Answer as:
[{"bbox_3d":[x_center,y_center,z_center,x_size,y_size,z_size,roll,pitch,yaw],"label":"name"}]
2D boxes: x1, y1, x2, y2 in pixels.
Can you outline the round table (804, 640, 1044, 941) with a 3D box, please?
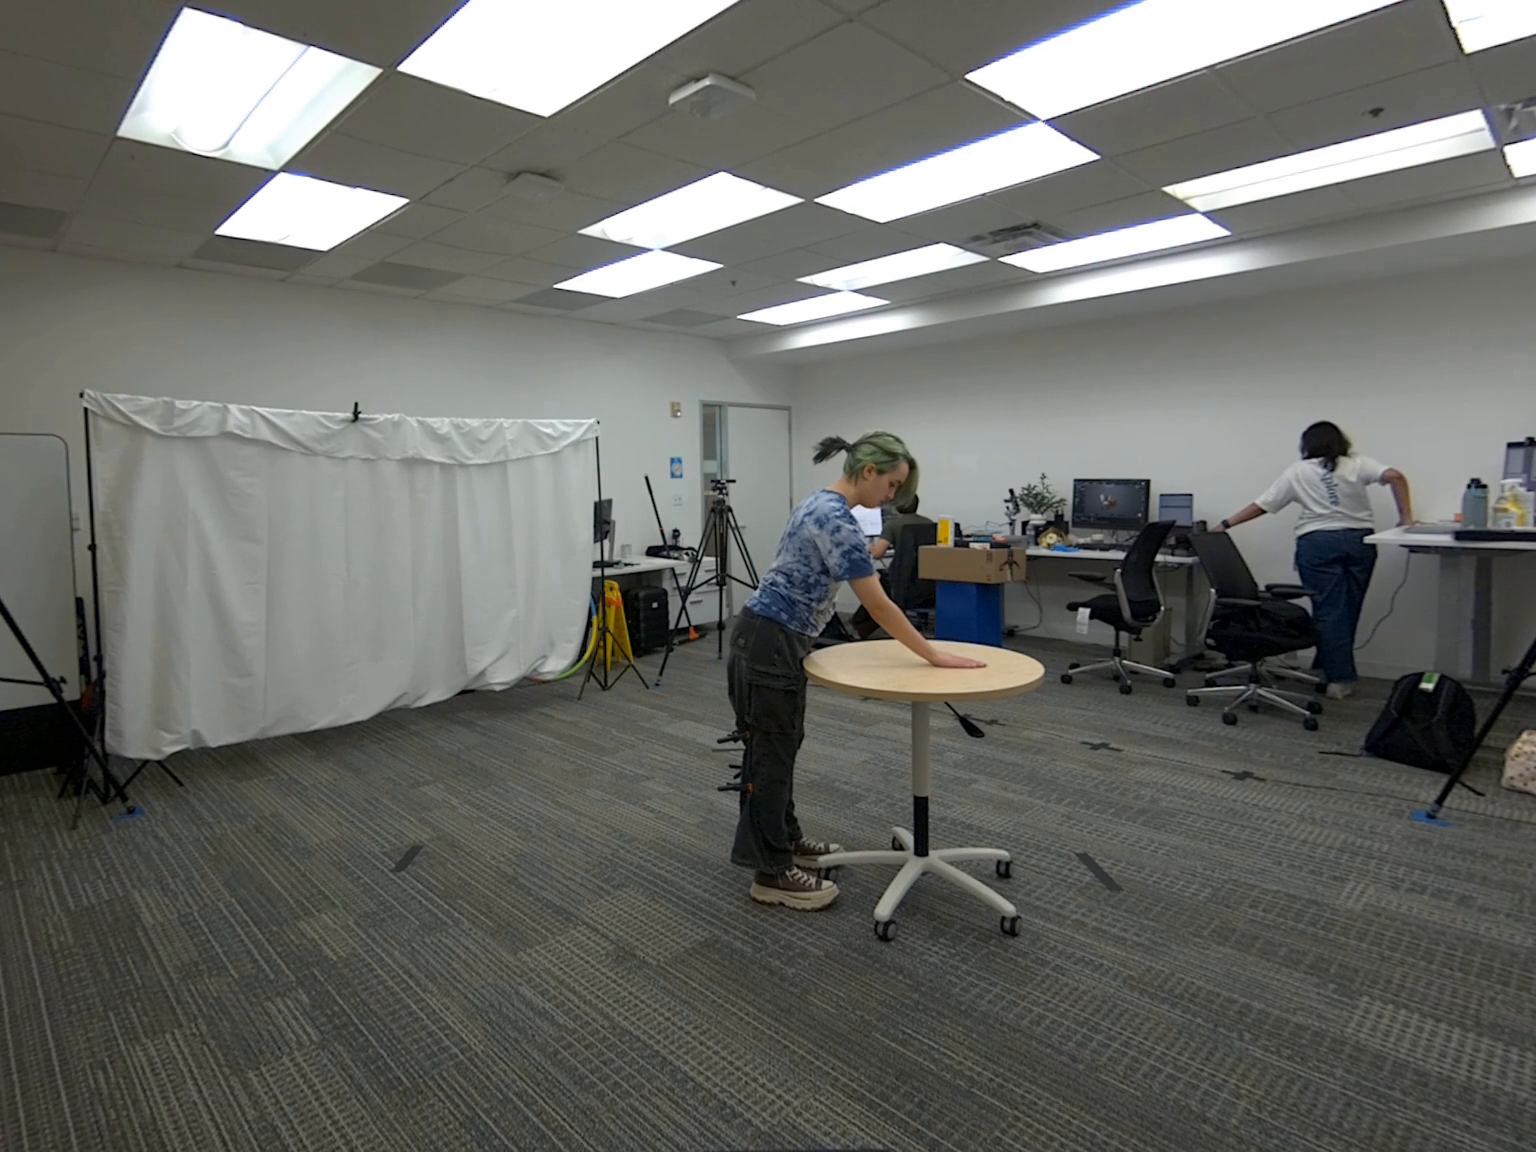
[{"bbox_3d":[0.497,0.675,2.816,0.784,0.783,0.789,-1,5,-2],"label":"round table"}]
